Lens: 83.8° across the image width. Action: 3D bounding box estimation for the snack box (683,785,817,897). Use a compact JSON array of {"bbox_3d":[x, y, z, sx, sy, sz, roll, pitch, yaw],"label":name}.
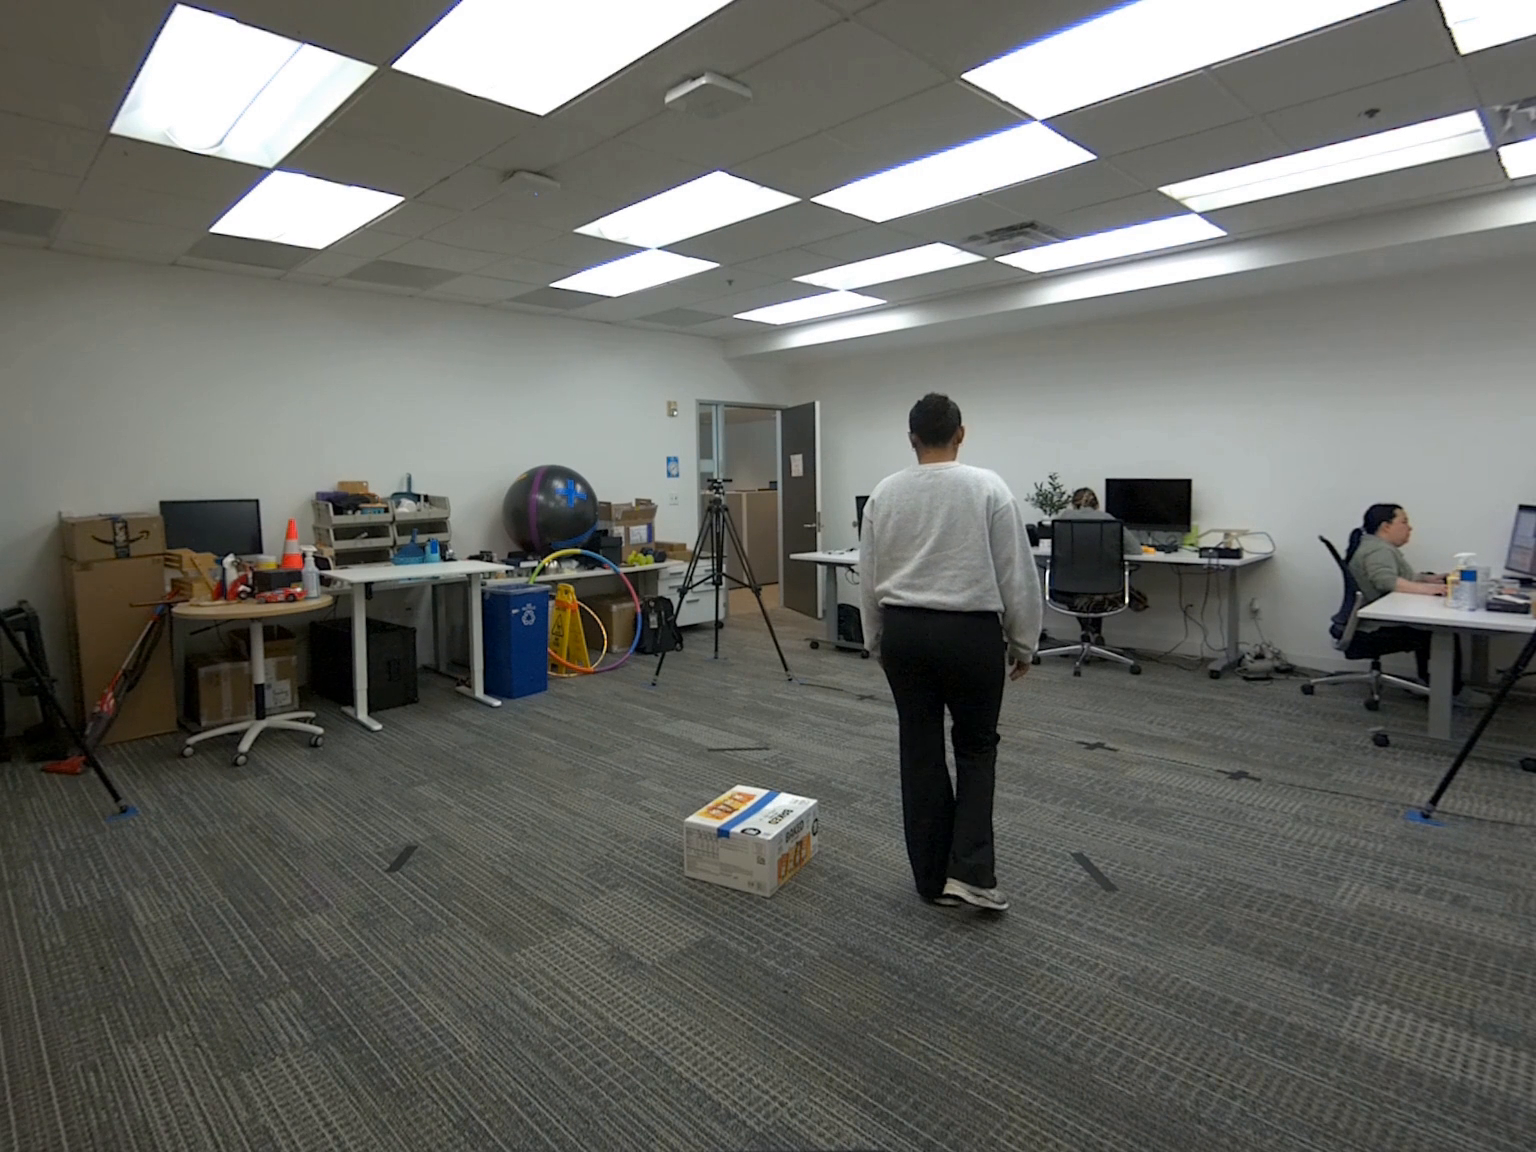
[{"bbox_3d":[-0.053,0.946,3.092,0.349,0.205,0.397,2,6,29],"label":"snack box"}]
